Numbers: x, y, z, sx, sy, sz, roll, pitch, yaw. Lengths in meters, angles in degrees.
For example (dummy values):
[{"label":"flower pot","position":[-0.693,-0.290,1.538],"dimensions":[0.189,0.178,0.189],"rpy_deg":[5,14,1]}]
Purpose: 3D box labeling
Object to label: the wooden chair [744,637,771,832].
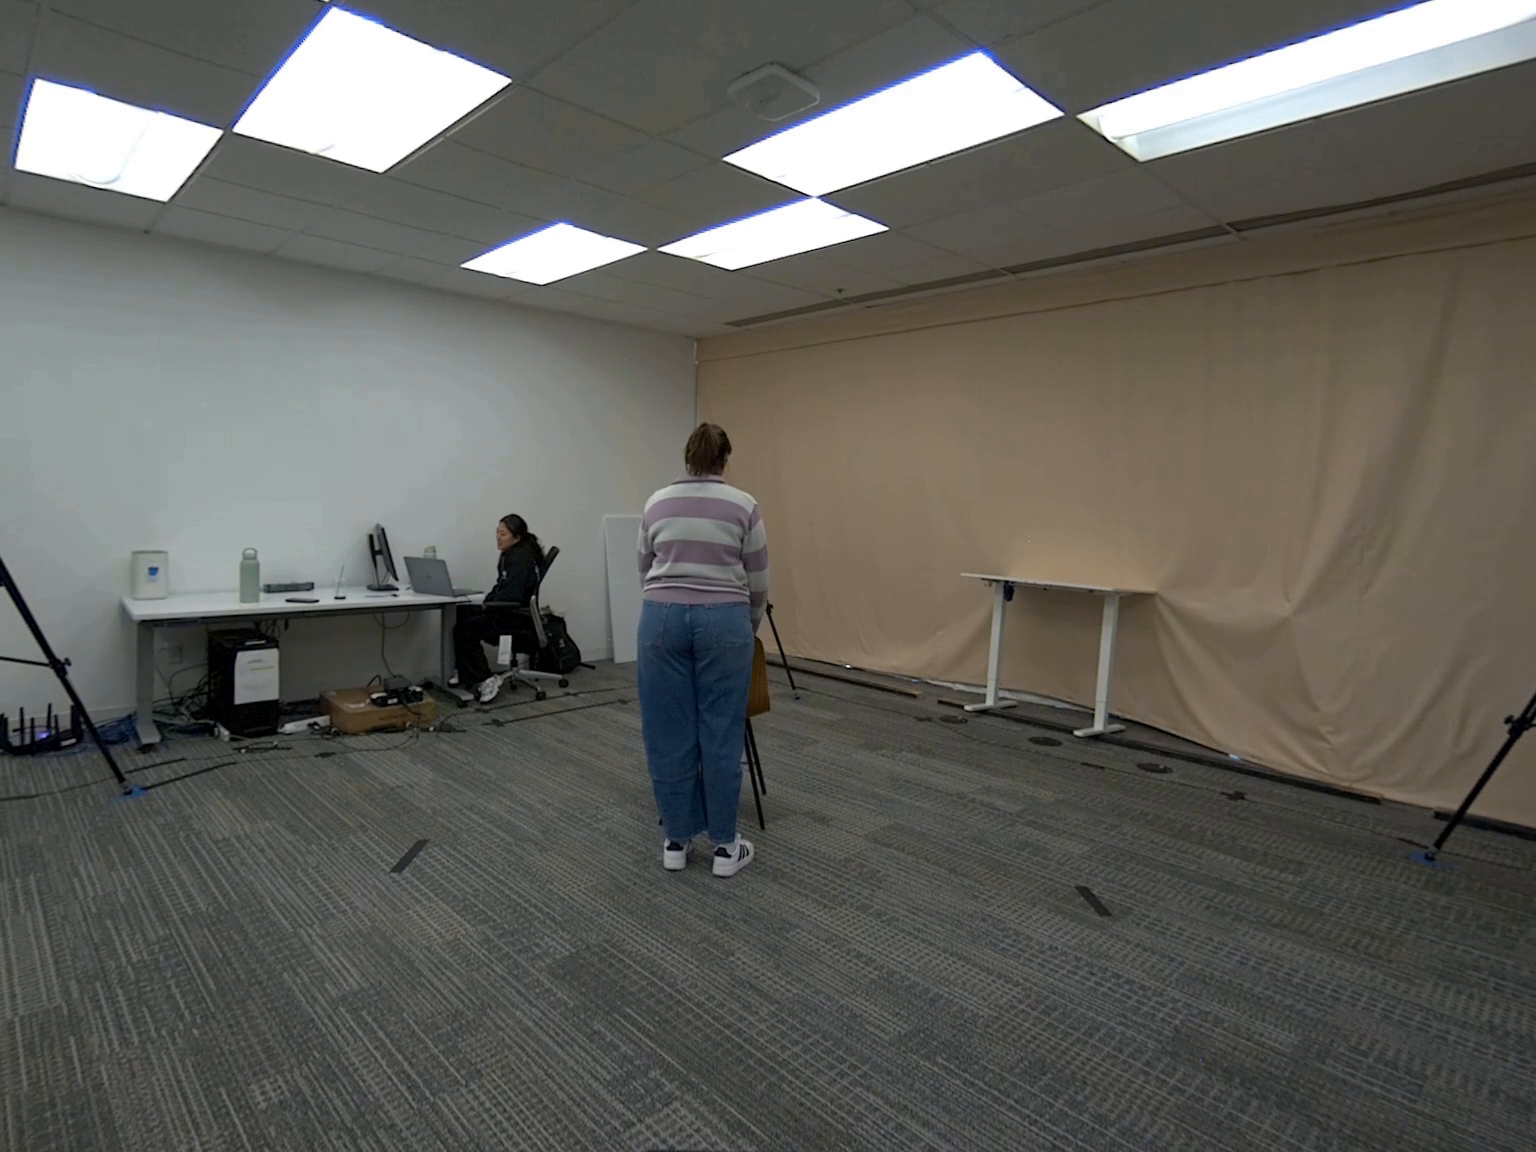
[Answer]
[{"label":"wooden chair","position":[-0.231,0.617,3.760],"dimensions":[0.479,0.873,0.525],"rpy_deg":[1,7,1]}]
